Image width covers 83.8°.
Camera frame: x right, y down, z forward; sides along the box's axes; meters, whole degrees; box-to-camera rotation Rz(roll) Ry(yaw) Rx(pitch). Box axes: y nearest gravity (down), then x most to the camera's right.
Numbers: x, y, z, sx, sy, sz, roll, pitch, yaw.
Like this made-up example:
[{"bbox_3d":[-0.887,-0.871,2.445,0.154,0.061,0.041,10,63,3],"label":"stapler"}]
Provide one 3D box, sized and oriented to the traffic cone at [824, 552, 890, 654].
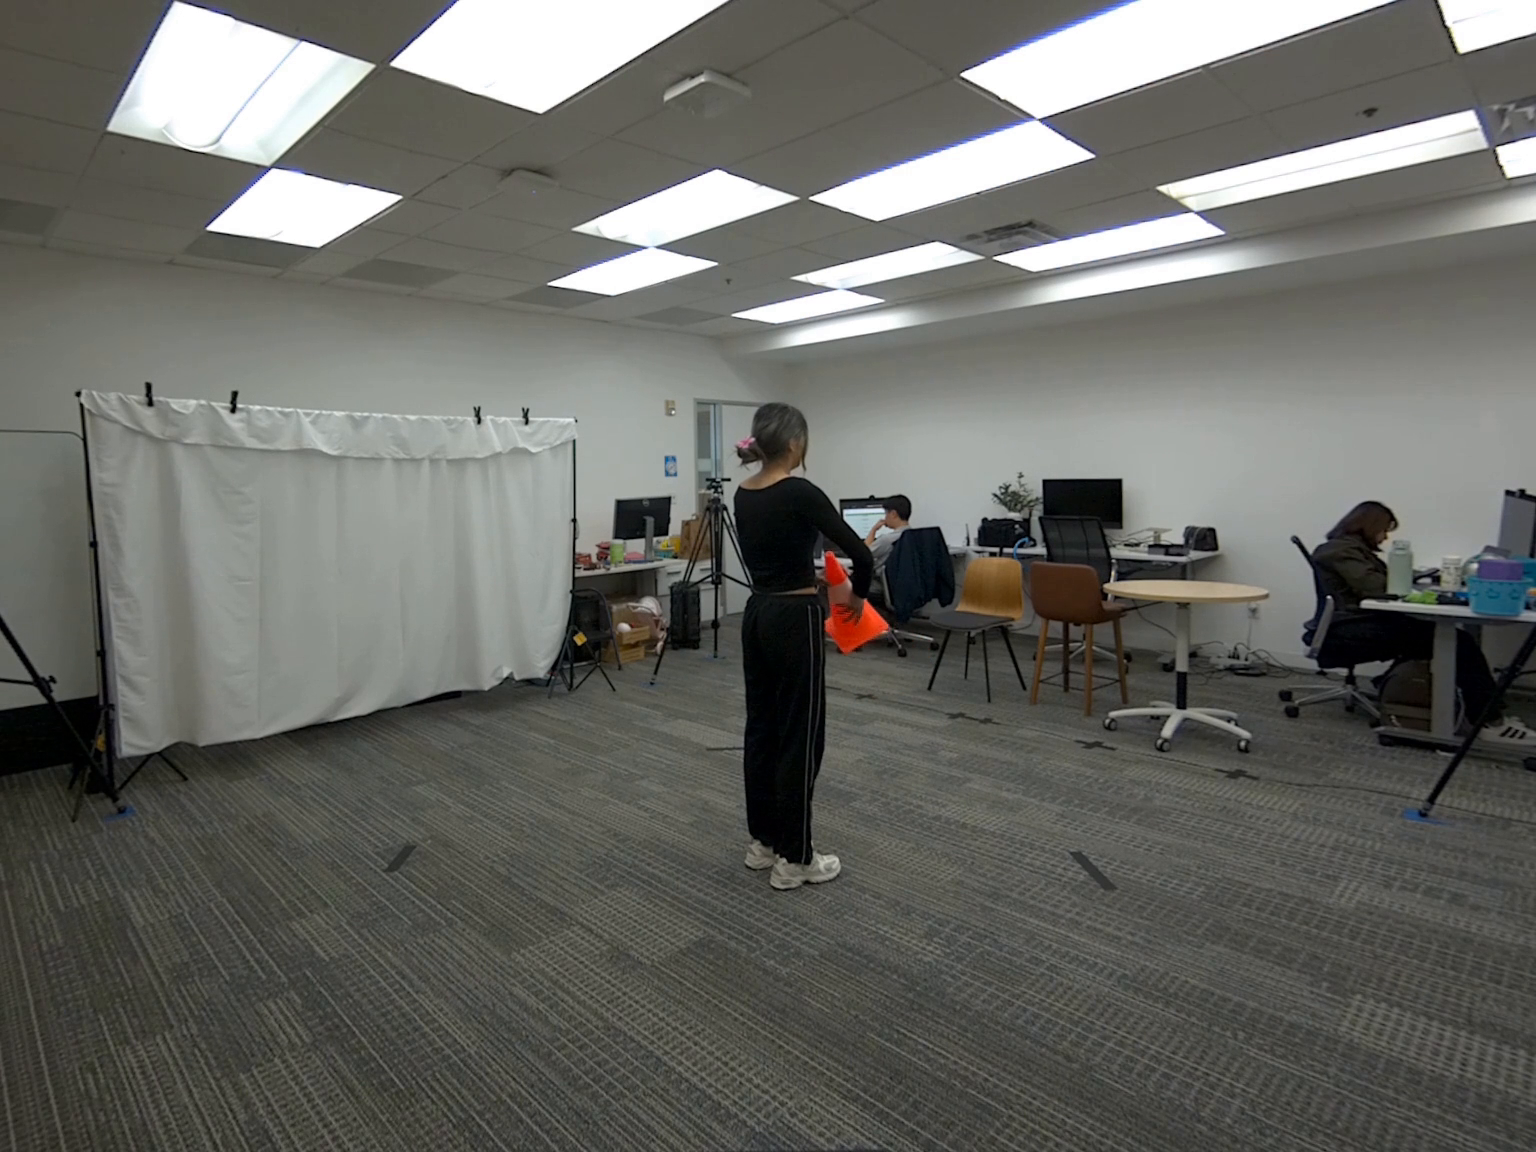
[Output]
[{"bbox_3d":[0.276,0.066,3.114,0.203,0.370,0.213,-30,38,-6],"label":"traffic cone"}]
